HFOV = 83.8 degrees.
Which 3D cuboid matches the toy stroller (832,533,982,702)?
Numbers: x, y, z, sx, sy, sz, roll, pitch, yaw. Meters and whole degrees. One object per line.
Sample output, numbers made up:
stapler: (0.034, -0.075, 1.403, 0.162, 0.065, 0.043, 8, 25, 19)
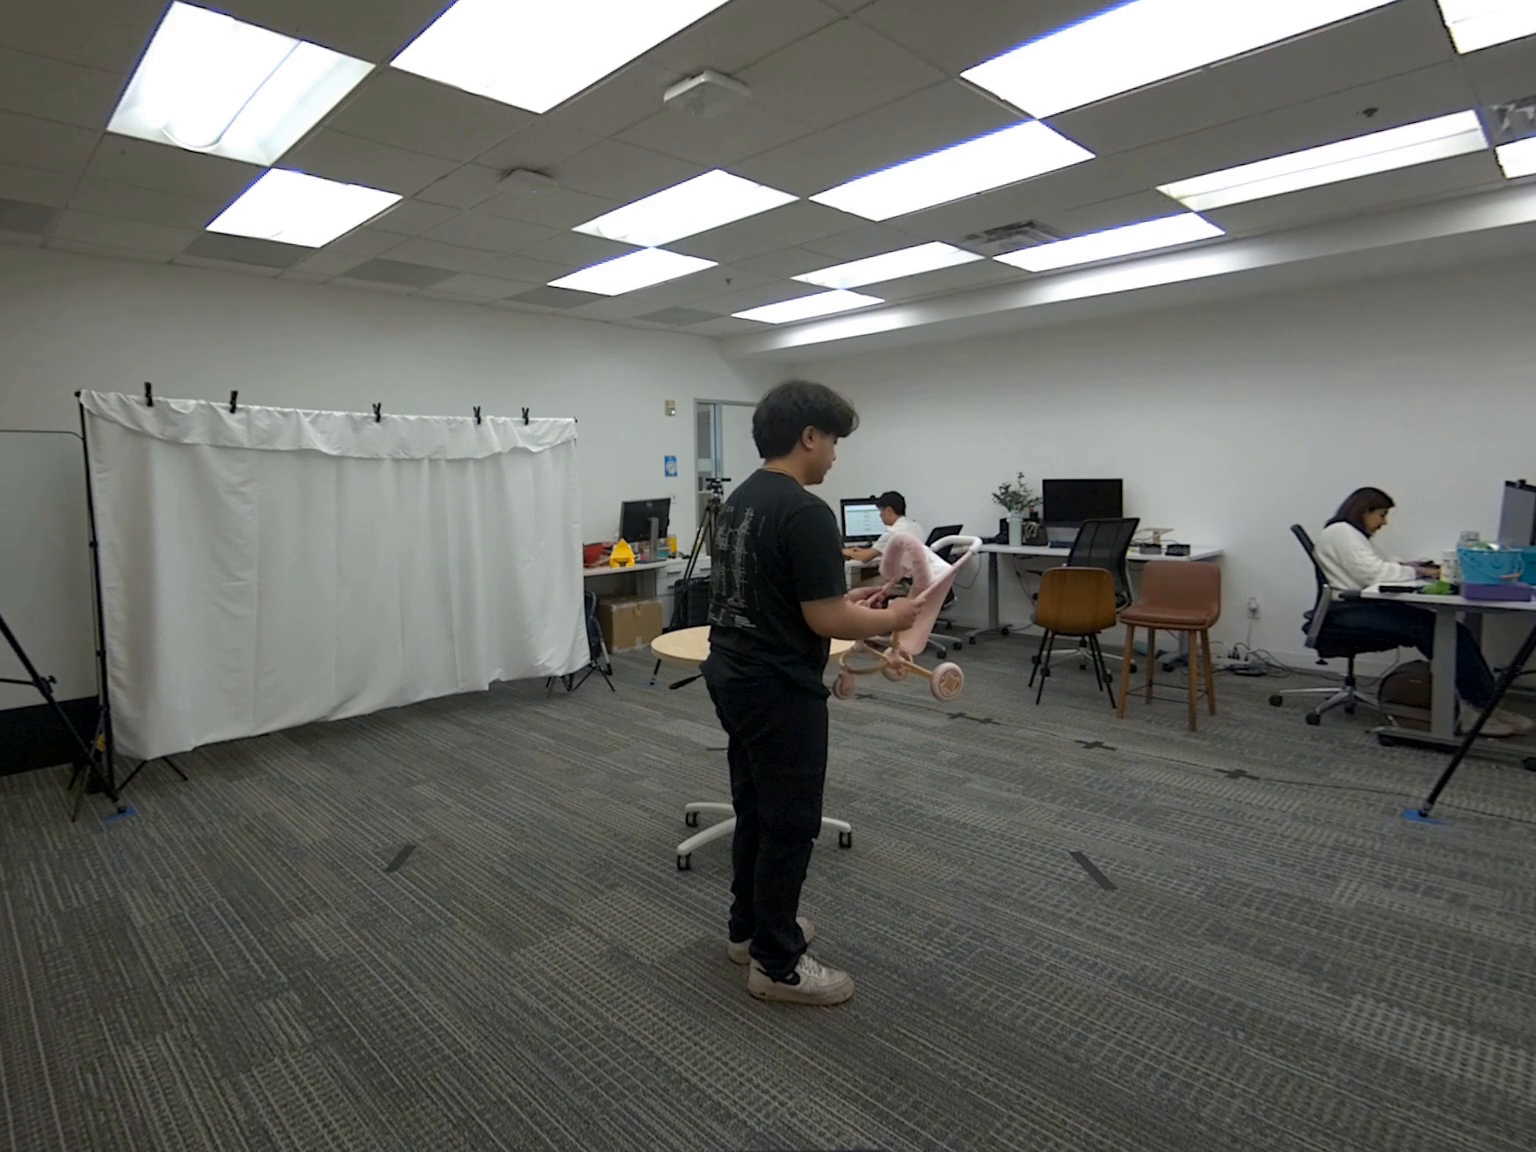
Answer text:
toy stroller: (0.387, 0.115, 2.457, 0.334, 0.535, 0.287, 13, -1, -19)
